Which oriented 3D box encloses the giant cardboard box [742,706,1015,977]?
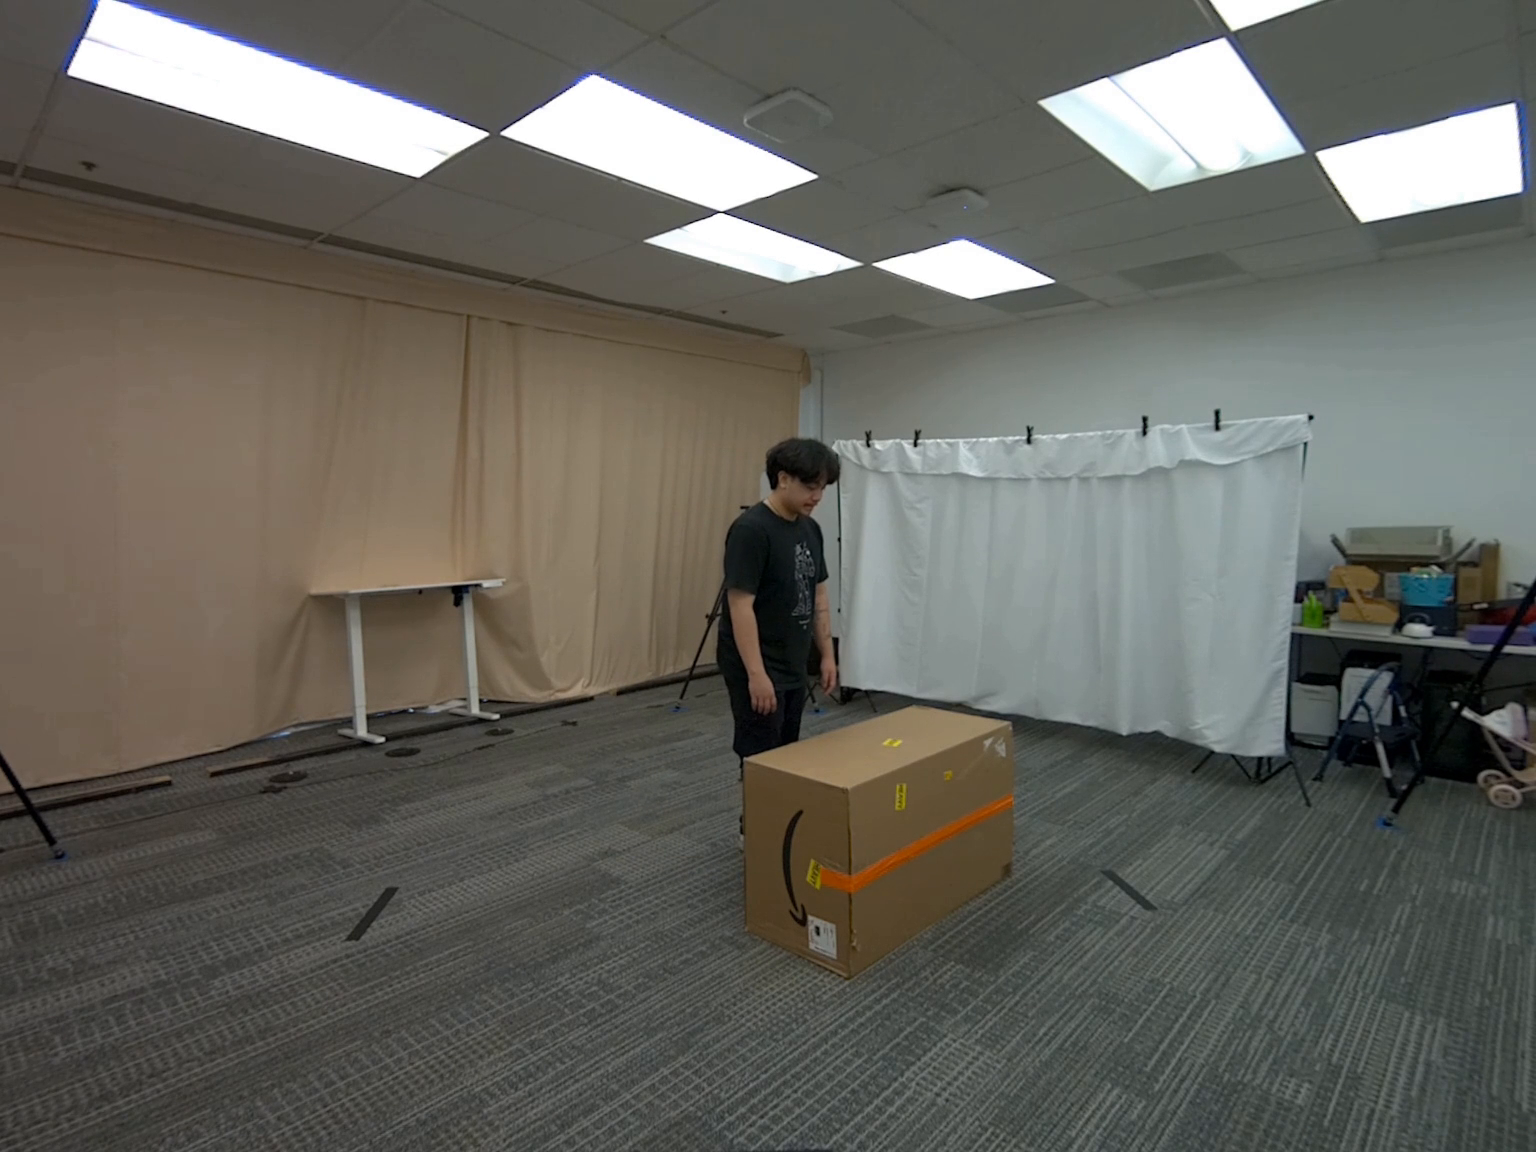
[{"bbox_3d":[0.428,0.859,2.953,0.462,0.582,0.996,4,7,43],"label":"giant cardboard box"}]
